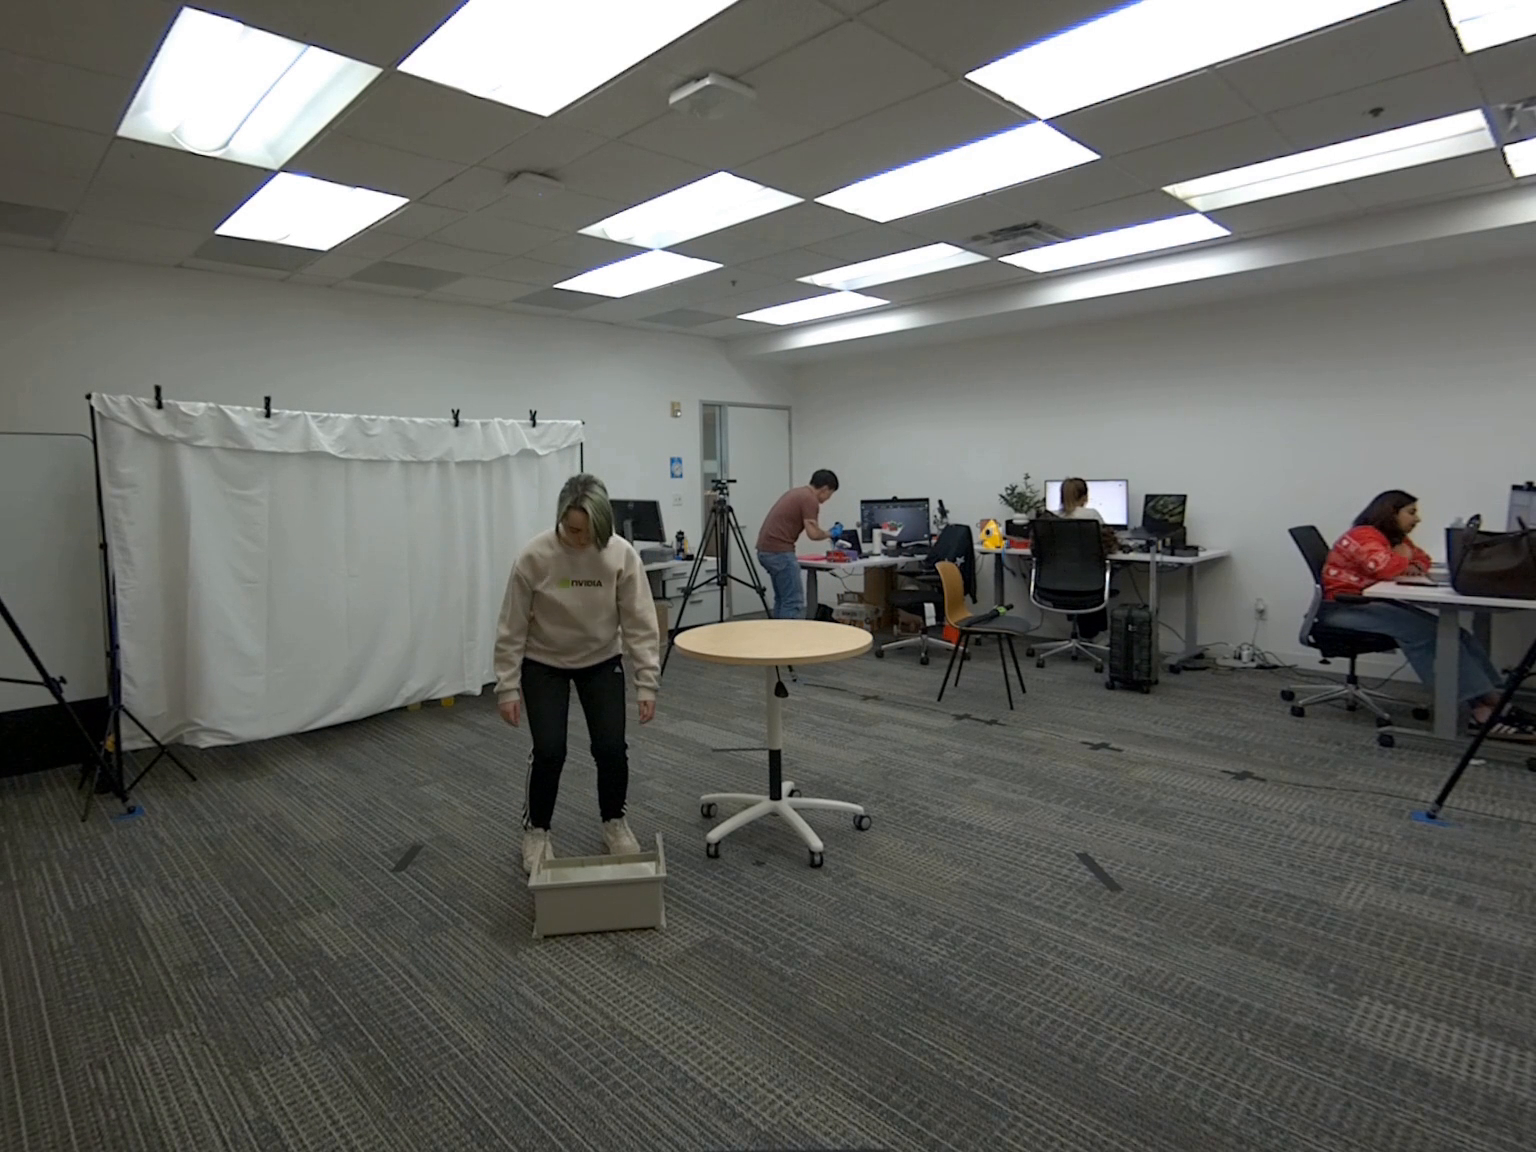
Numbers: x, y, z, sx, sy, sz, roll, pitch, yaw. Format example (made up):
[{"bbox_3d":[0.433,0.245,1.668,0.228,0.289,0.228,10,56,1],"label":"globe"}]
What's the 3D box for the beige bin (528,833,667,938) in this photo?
[{"bbox_3d":[-0.552,1.005,2.811,0.419,0.188,0.382,-1,6,-9],"label":"beige bin"}]
